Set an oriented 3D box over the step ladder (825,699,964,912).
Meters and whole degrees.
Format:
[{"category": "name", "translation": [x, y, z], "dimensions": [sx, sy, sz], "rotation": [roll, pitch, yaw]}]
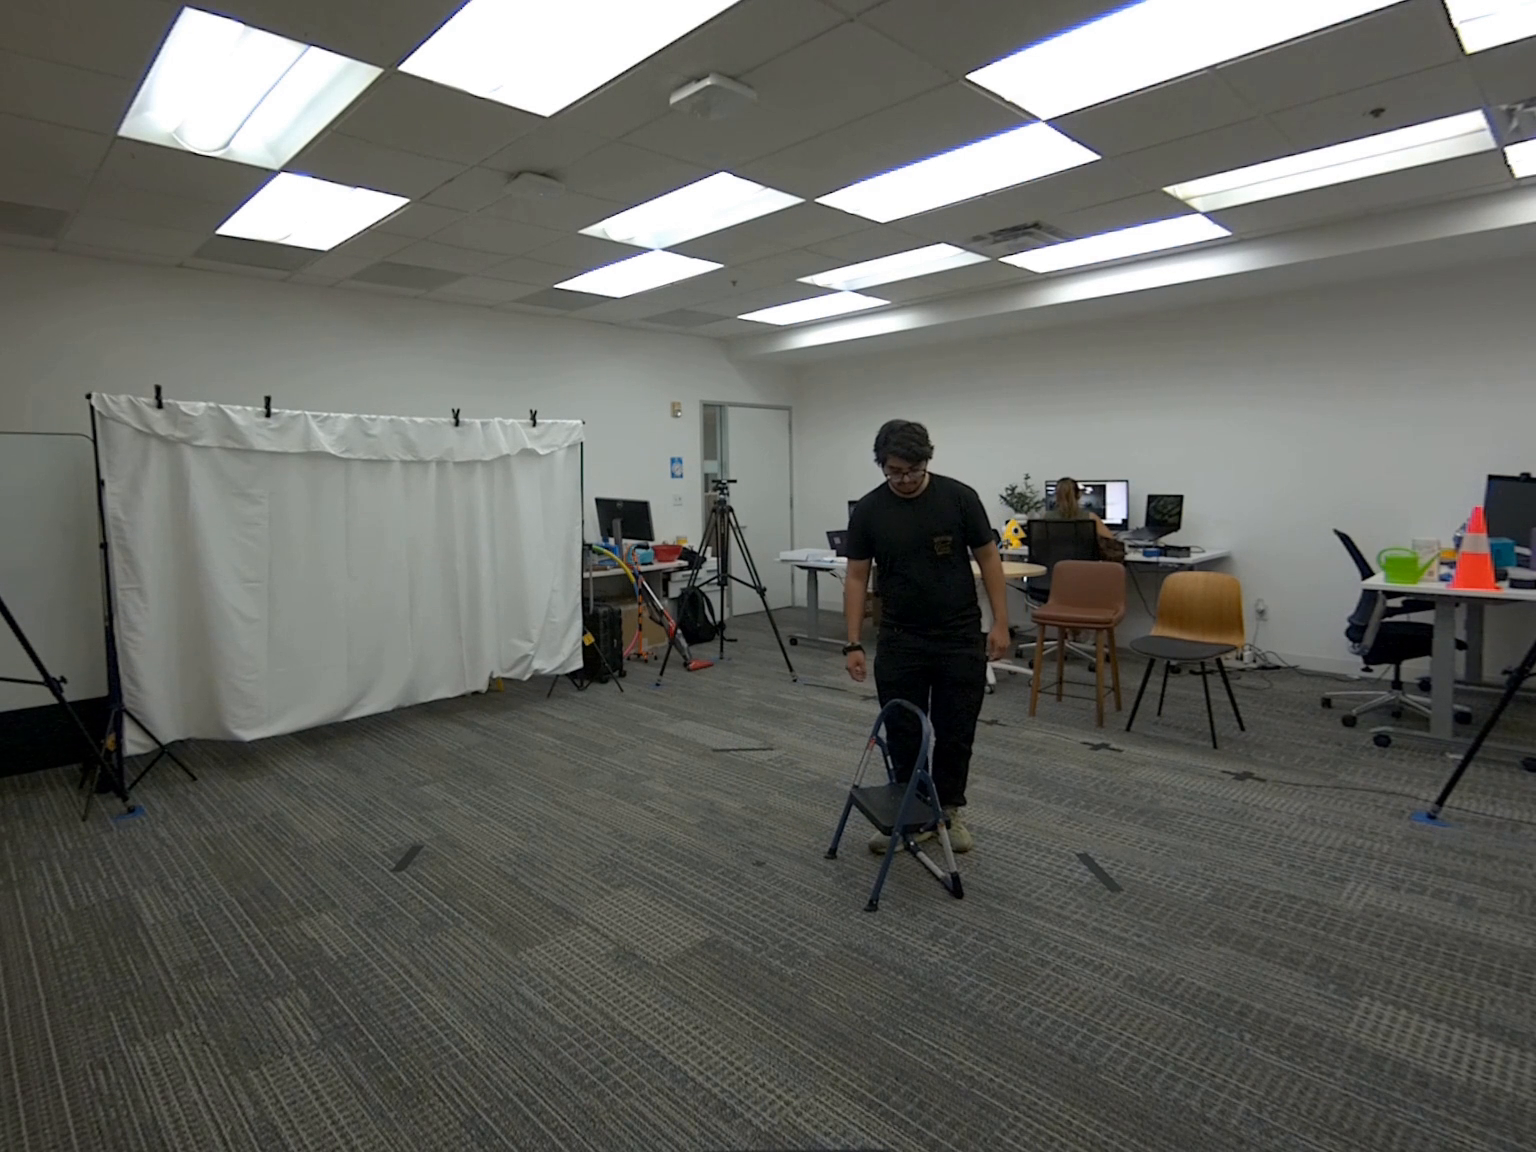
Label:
[{"category": "step ladder", "translation": [0.432, 0.752, 2.965], "dimensions": [0.345, 0.603, 0.438], "rotation": [-2, 5, -13]}]
